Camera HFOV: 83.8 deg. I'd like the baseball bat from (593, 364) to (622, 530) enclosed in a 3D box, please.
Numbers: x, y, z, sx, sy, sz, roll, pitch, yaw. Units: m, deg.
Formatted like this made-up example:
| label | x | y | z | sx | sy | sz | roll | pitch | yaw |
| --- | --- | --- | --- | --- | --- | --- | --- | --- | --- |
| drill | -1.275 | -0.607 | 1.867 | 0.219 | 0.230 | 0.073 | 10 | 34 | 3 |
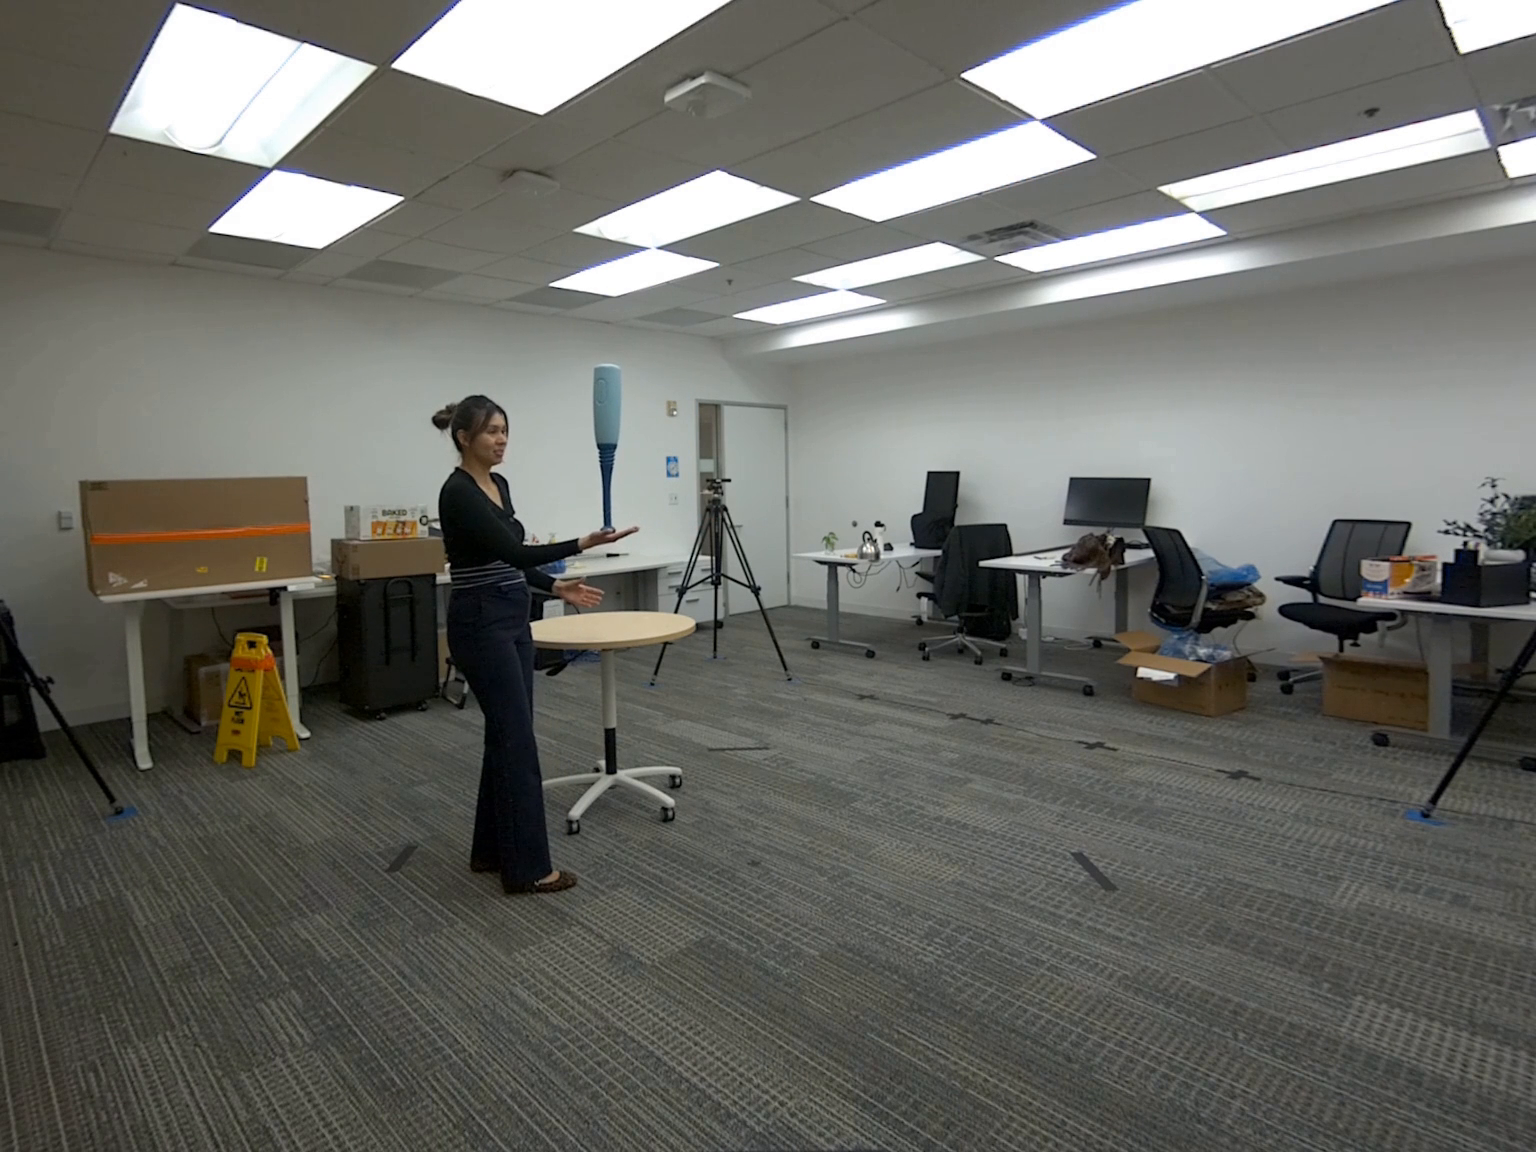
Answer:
| label | x | y | z | sx | sy | sz | roll | pitch | yaw |
| --- | --- | --- | --- | --- | --- | --- | --- | --- | --- |
| baseball bat | -0.522 | -0.403 | 2.741 | 0.089 | 0.541 | 0.089 | 0 | 3 | -2 |
